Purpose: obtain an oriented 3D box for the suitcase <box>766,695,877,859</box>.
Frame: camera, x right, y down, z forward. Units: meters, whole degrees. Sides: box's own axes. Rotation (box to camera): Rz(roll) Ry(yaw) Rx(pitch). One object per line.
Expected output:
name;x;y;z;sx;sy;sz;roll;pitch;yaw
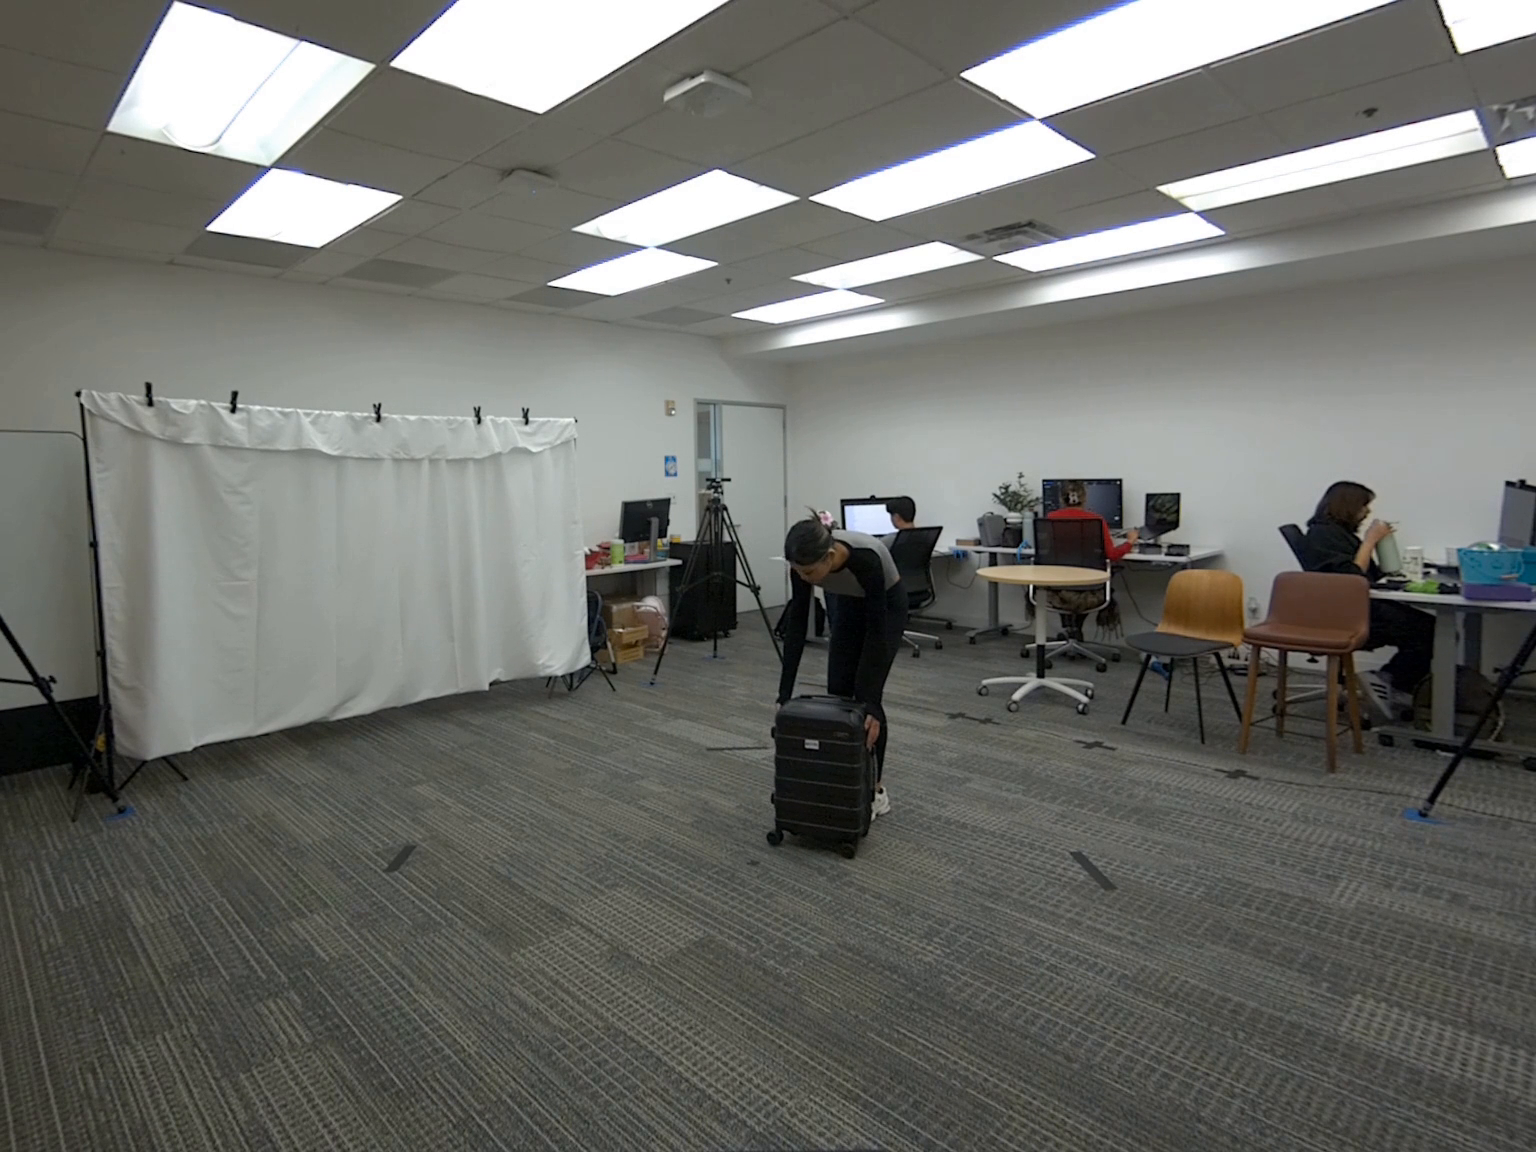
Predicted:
suitcase;0.215;0.748;3.269;0.384;0.547;0.244;2;5;24
